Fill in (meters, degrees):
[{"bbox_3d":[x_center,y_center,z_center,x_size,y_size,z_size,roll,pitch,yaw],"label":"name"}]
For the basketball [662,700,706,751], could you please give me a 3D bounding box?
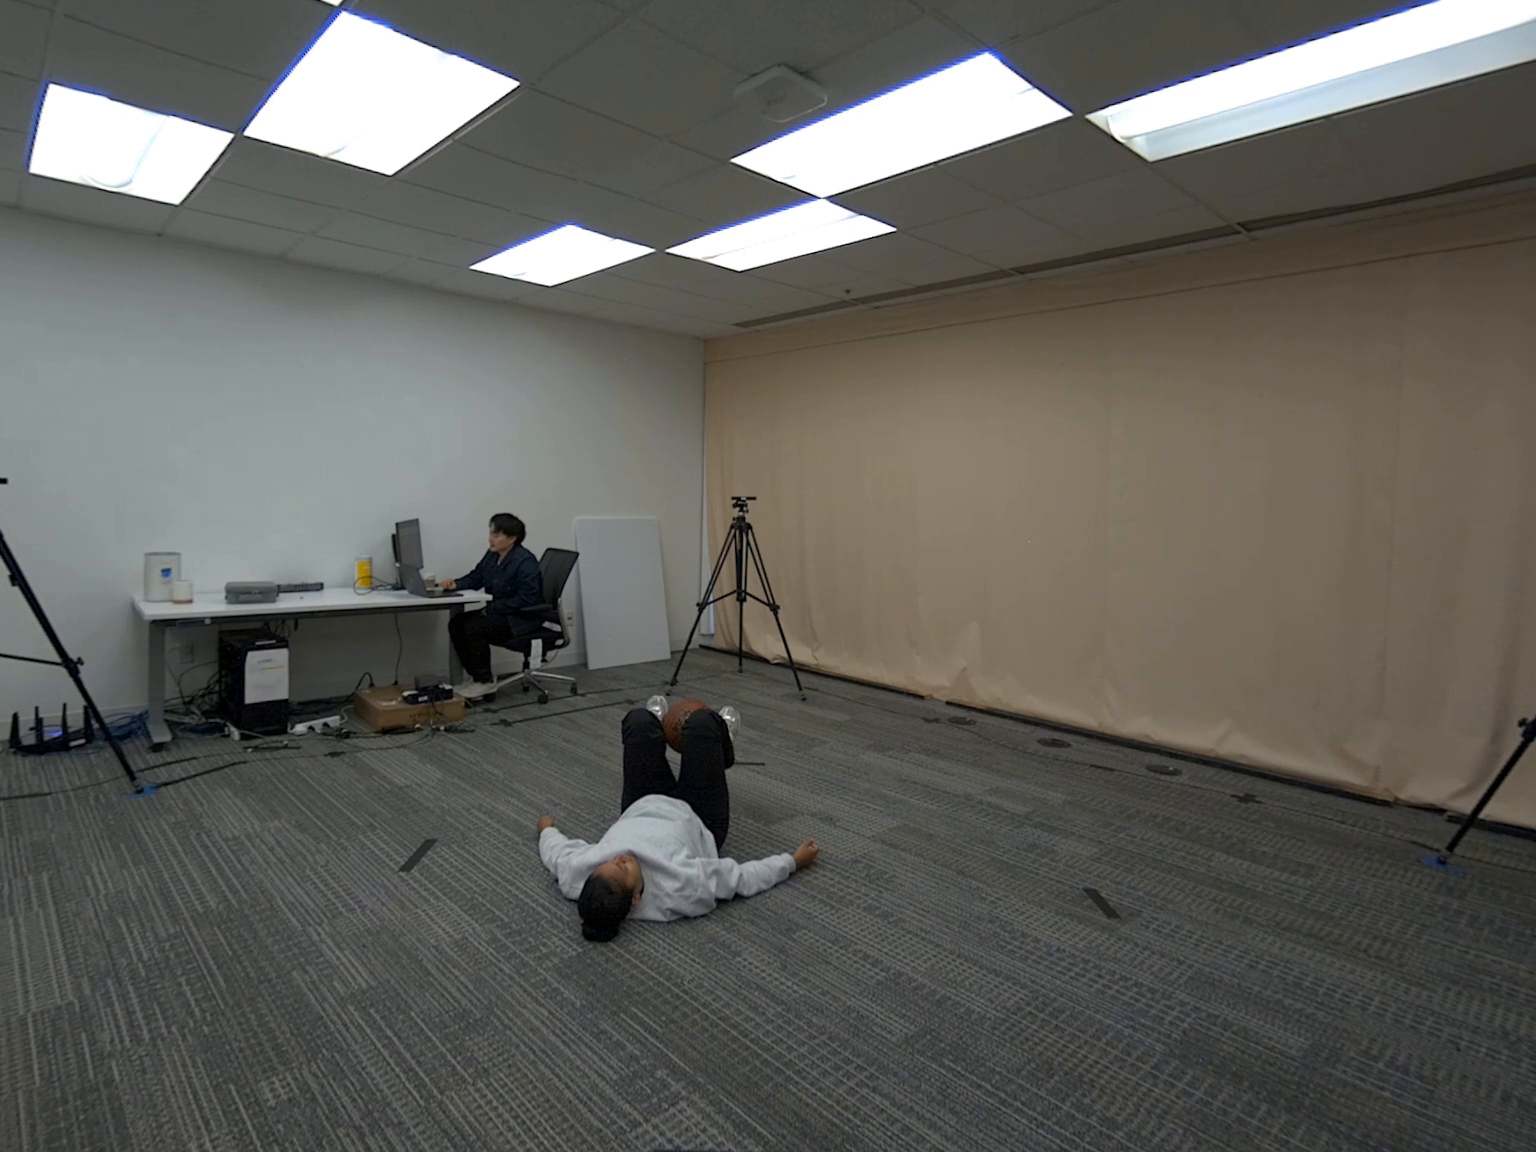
[{"bbox_3d":[-0.353,0.654,3.657,0.235,0.235,0.237,4,7,-2],"label":"basketball"}]
